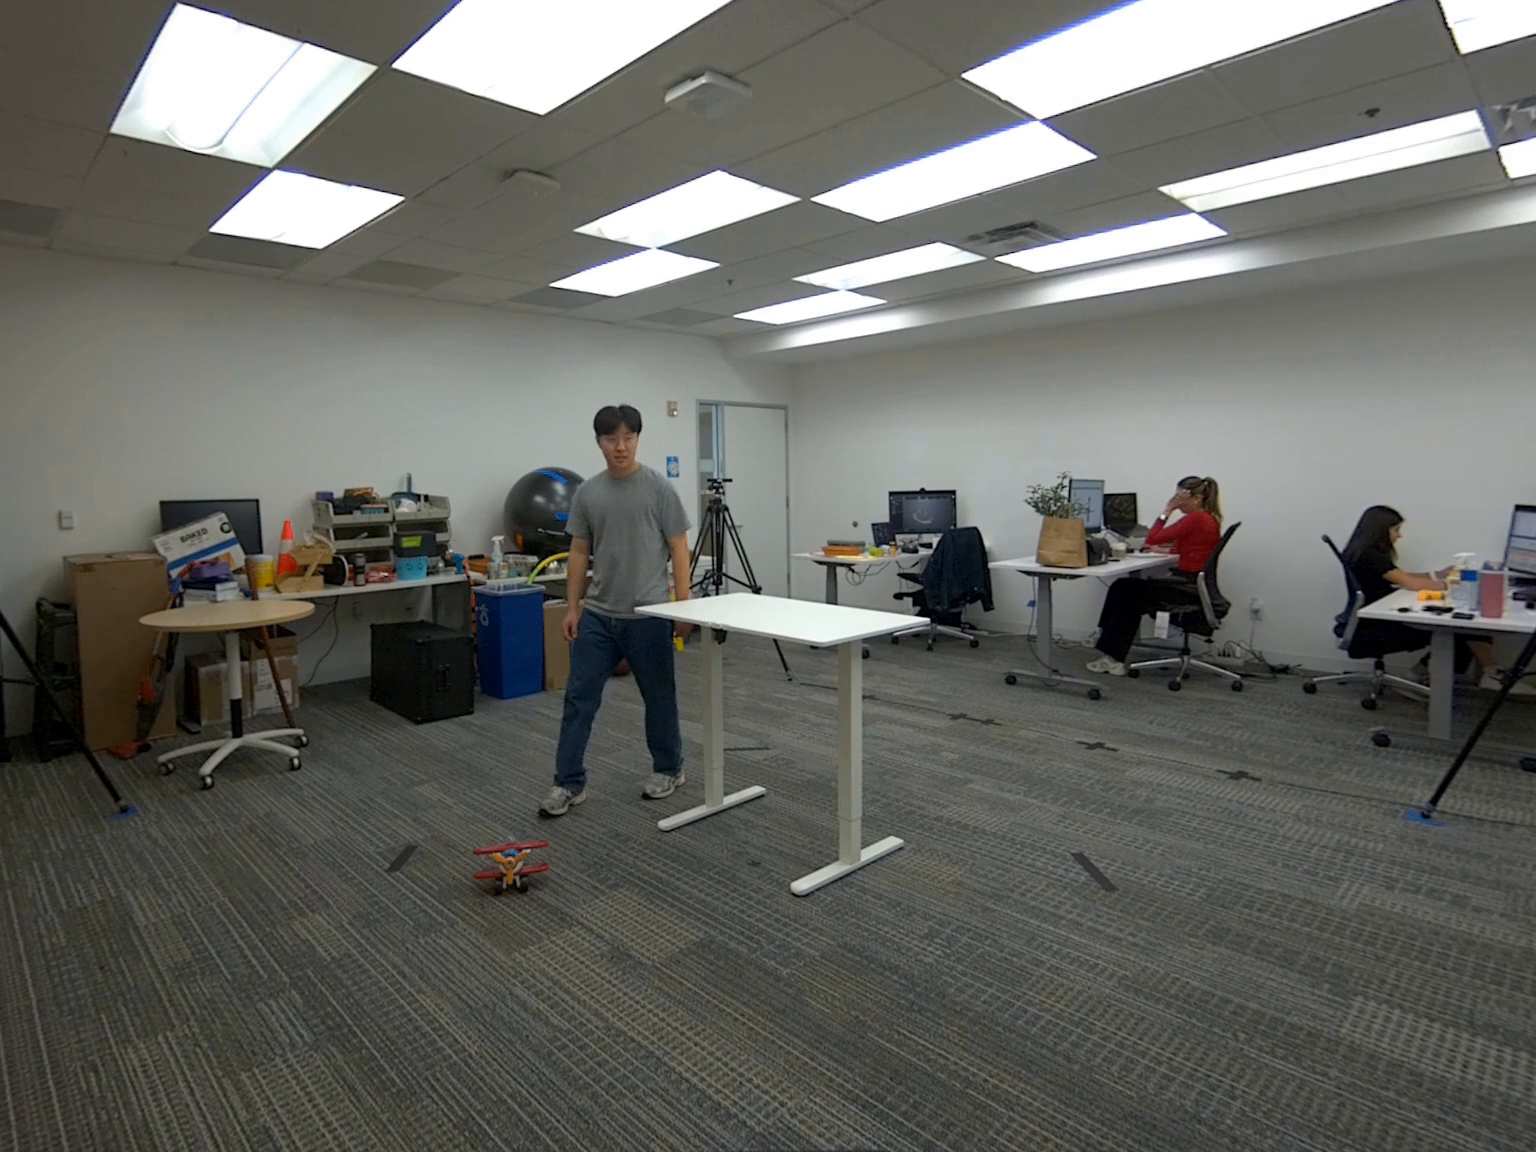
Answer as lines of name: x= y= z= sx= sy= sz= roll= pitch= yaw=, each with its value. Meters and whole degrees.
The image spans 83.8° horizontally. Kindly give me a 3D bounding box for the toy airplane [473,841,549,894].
toy airplane: x=-0.922 y=1.005 z=2.997 sx=0.244 sy=0.155 sz=0.267 roll=-6 pitch=8 yaw=-41
